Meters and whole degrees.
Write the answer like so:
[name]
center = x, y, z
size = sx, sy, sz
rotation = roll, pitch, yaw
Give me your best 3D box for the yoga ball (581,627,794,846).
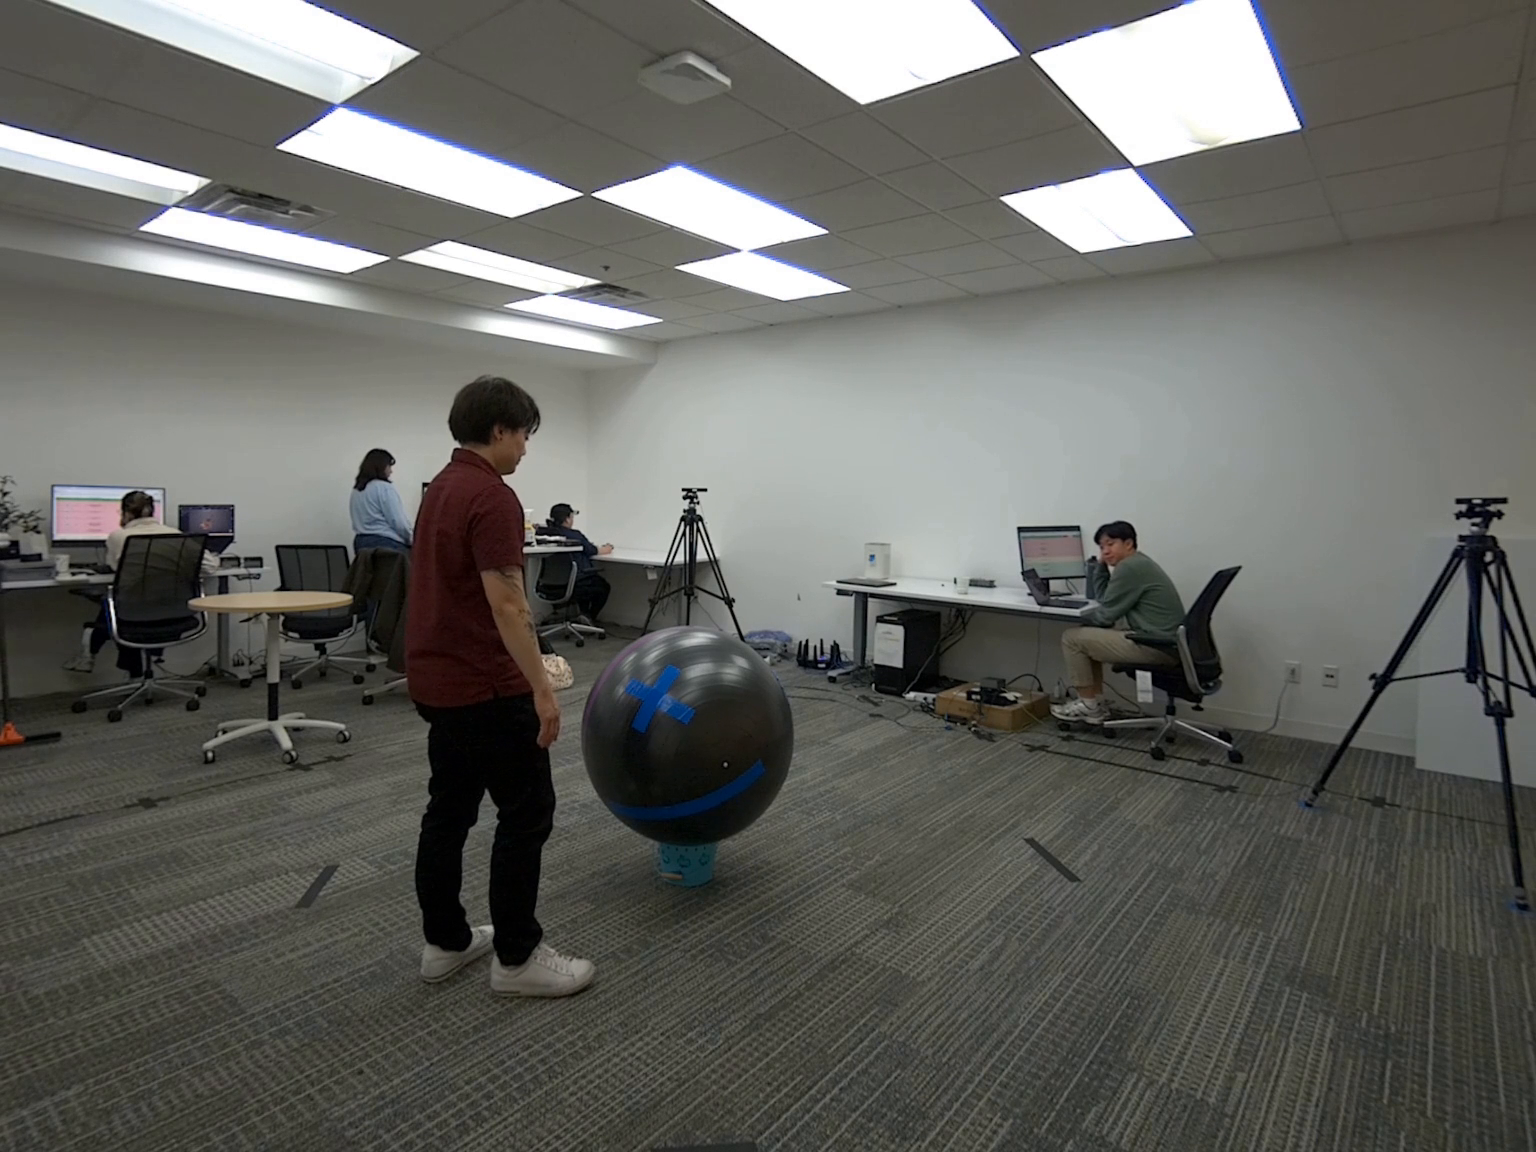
[yoga ball]
center = -0.293, 0.561, 3.044
size = 0.757, 0.755, 0.762
rotation = 1, 4, -2
